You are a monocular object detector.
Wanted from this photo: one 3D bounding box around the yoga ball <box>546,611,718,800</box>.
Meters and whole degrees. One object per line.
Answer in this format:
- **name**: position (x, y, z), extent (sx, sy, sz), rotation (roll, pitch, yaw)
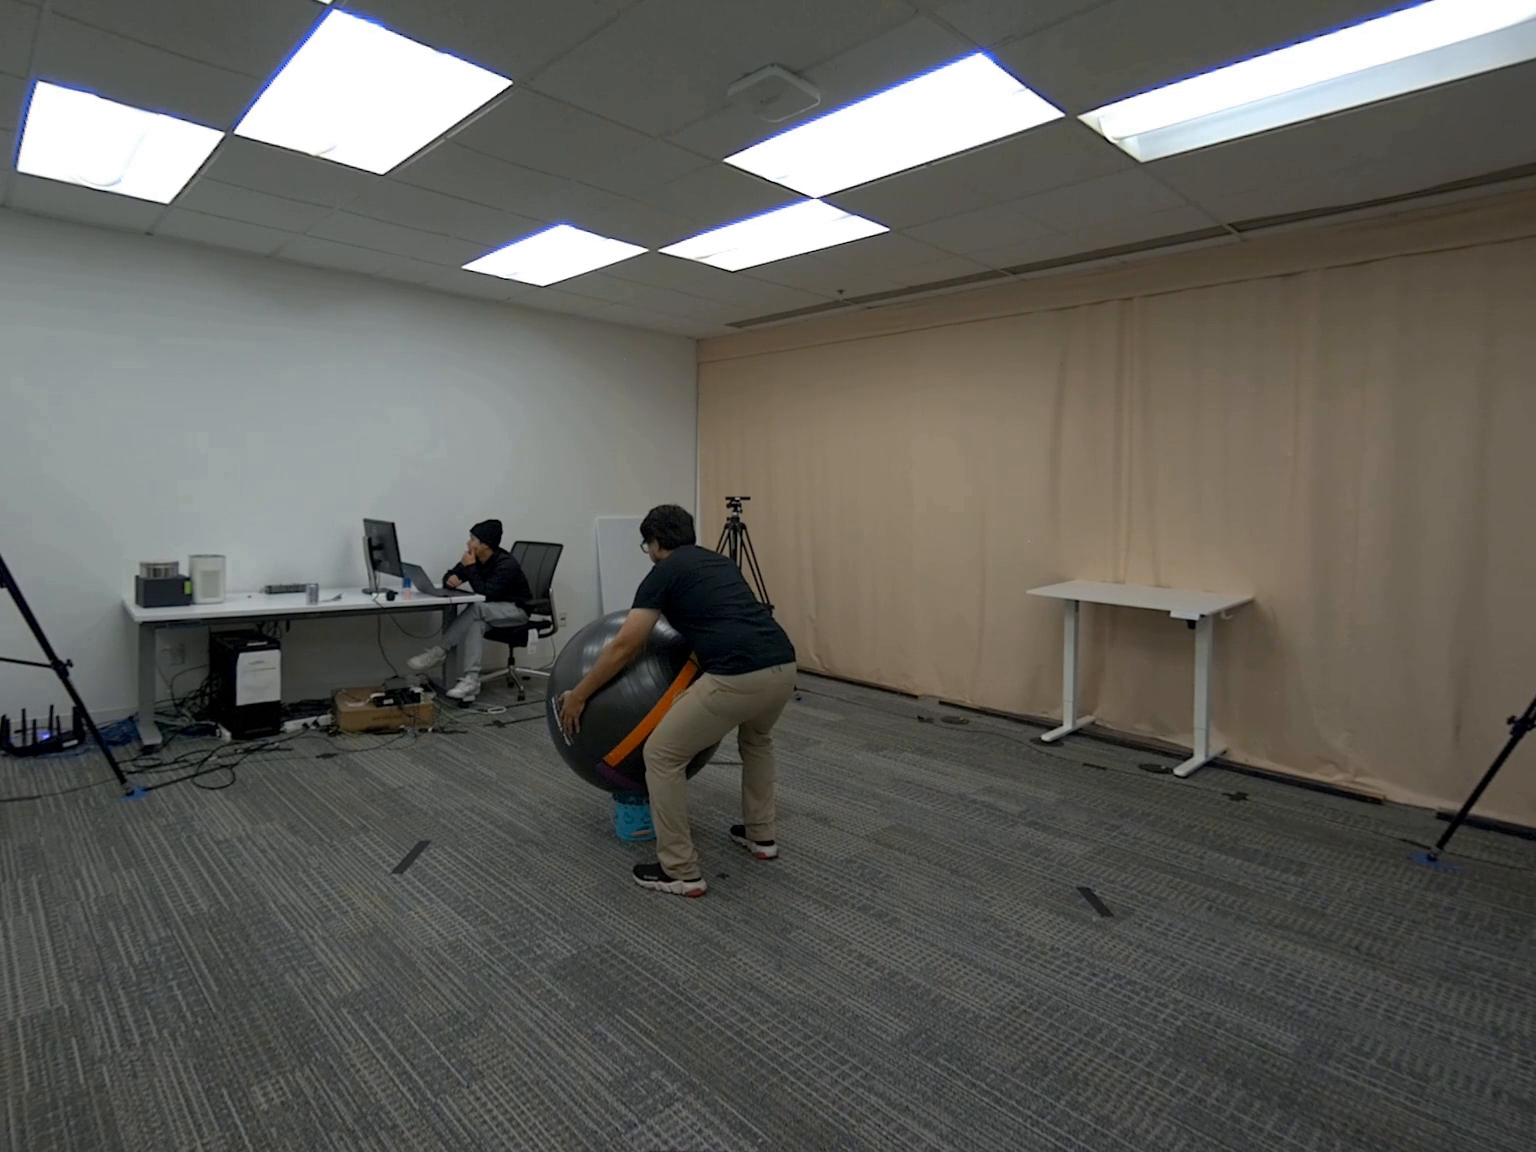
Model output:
- **yoga ball**: position (-0.541, 0.516, 3.485), extent (0.757, 0.756, 0.761), rotation (1, 4, -1)
